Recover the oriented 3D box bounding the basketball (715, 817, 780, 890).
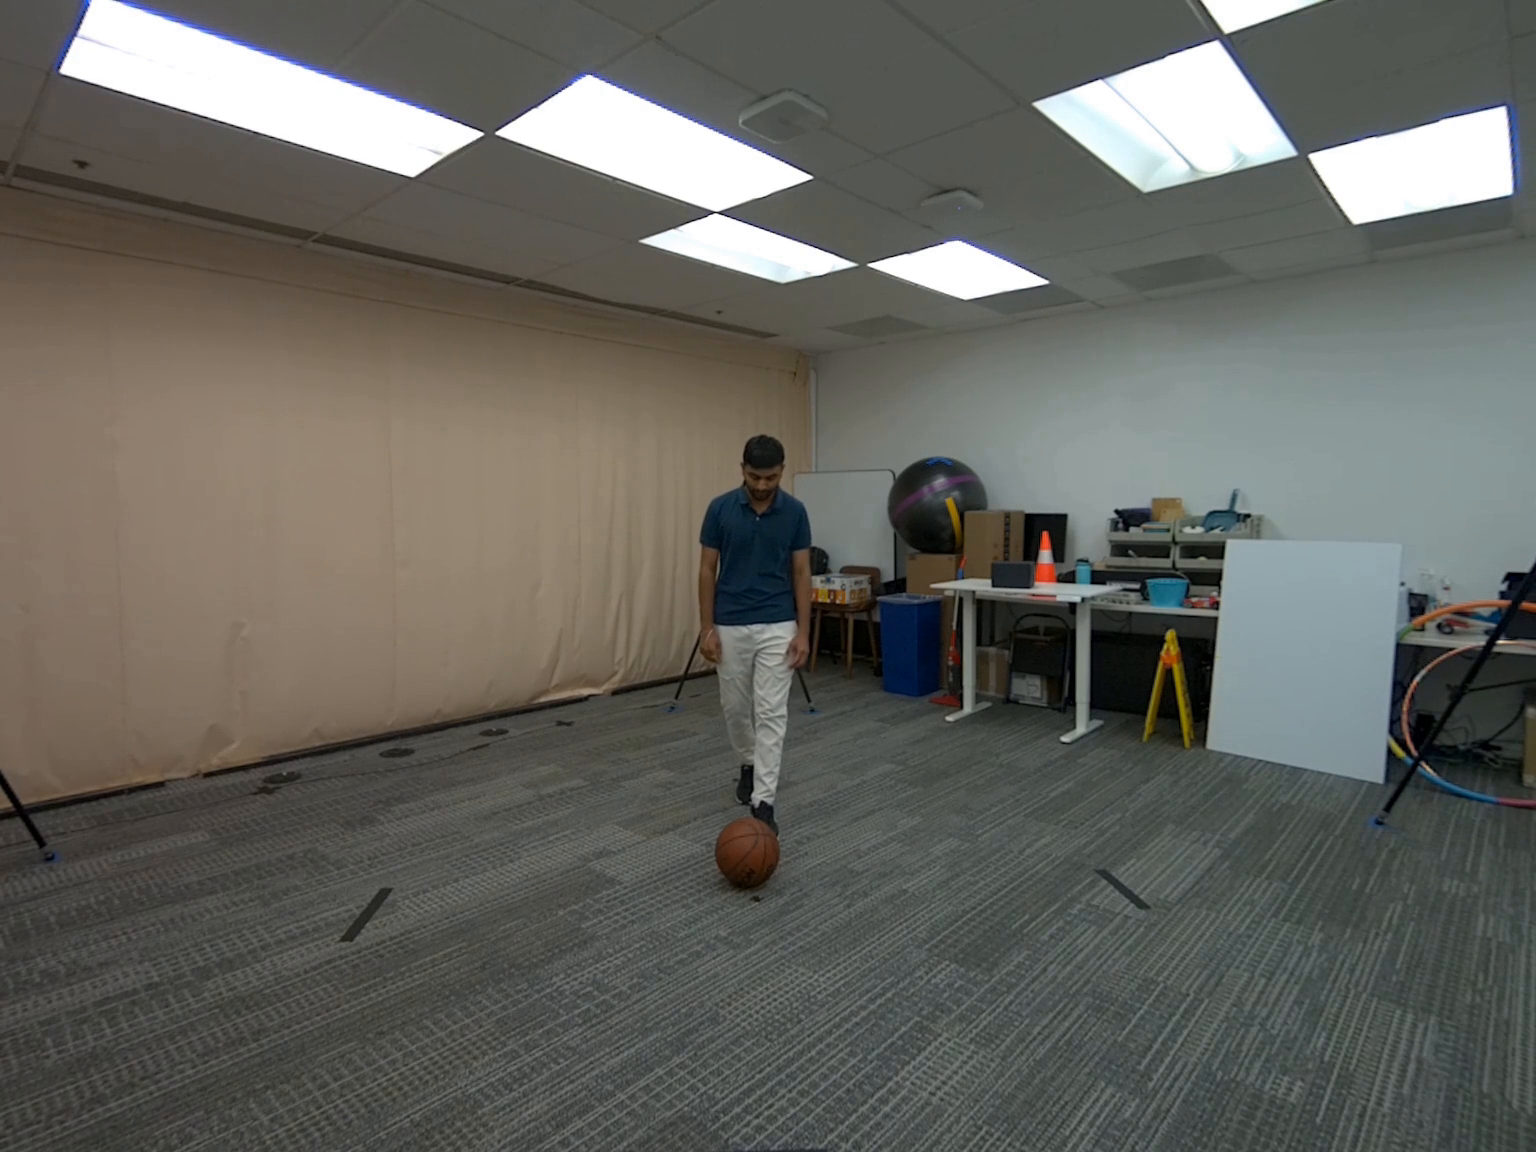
[{"bbox_3d":[-0.081,1.009,3.099,0.236,0.235,0.237,0,4,-2],"label":"basketball"}]
